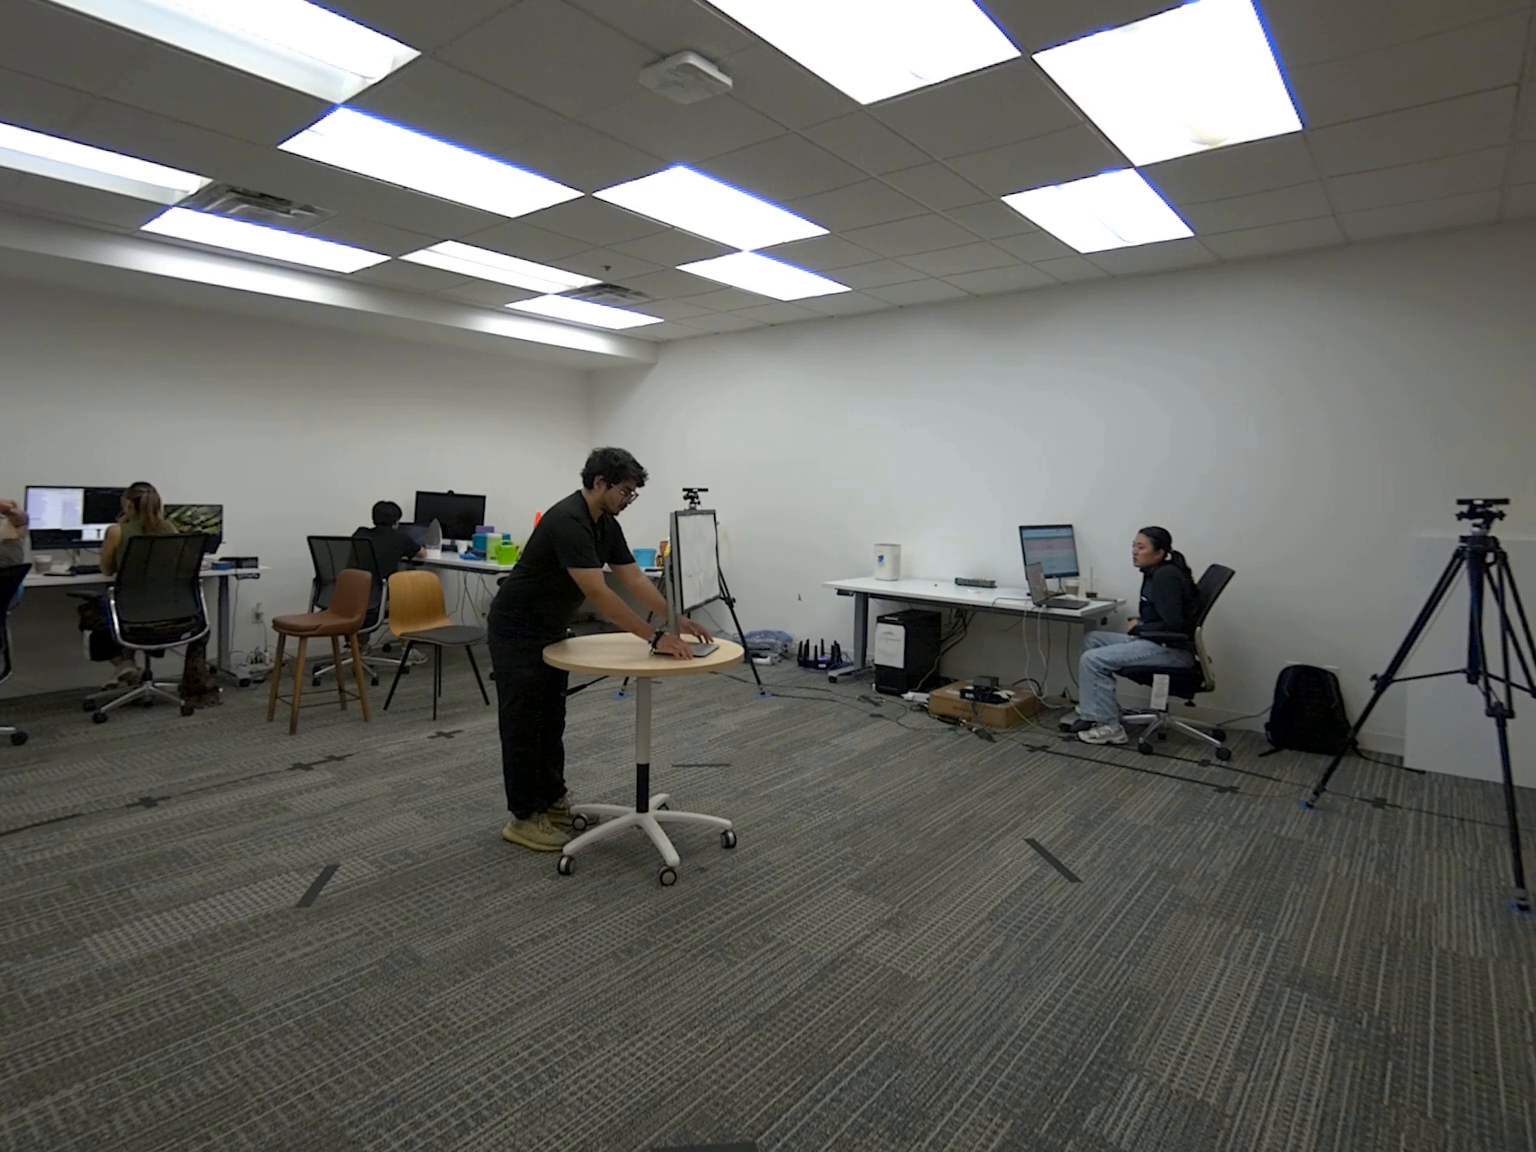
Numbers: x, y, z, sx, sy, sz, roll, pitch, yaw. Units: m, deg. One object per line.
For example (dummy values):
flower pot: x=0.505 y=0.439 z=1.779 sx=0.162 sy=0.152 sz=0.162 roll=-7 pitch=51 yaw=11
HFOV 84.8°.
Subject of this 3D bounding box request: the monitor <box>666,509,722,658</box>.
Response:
monitor: x=-0.342 y=0.020 z=3.231 sx=0.213 sy=0.552 sz=0.559 roll=1 pitch=4 yaw=11
